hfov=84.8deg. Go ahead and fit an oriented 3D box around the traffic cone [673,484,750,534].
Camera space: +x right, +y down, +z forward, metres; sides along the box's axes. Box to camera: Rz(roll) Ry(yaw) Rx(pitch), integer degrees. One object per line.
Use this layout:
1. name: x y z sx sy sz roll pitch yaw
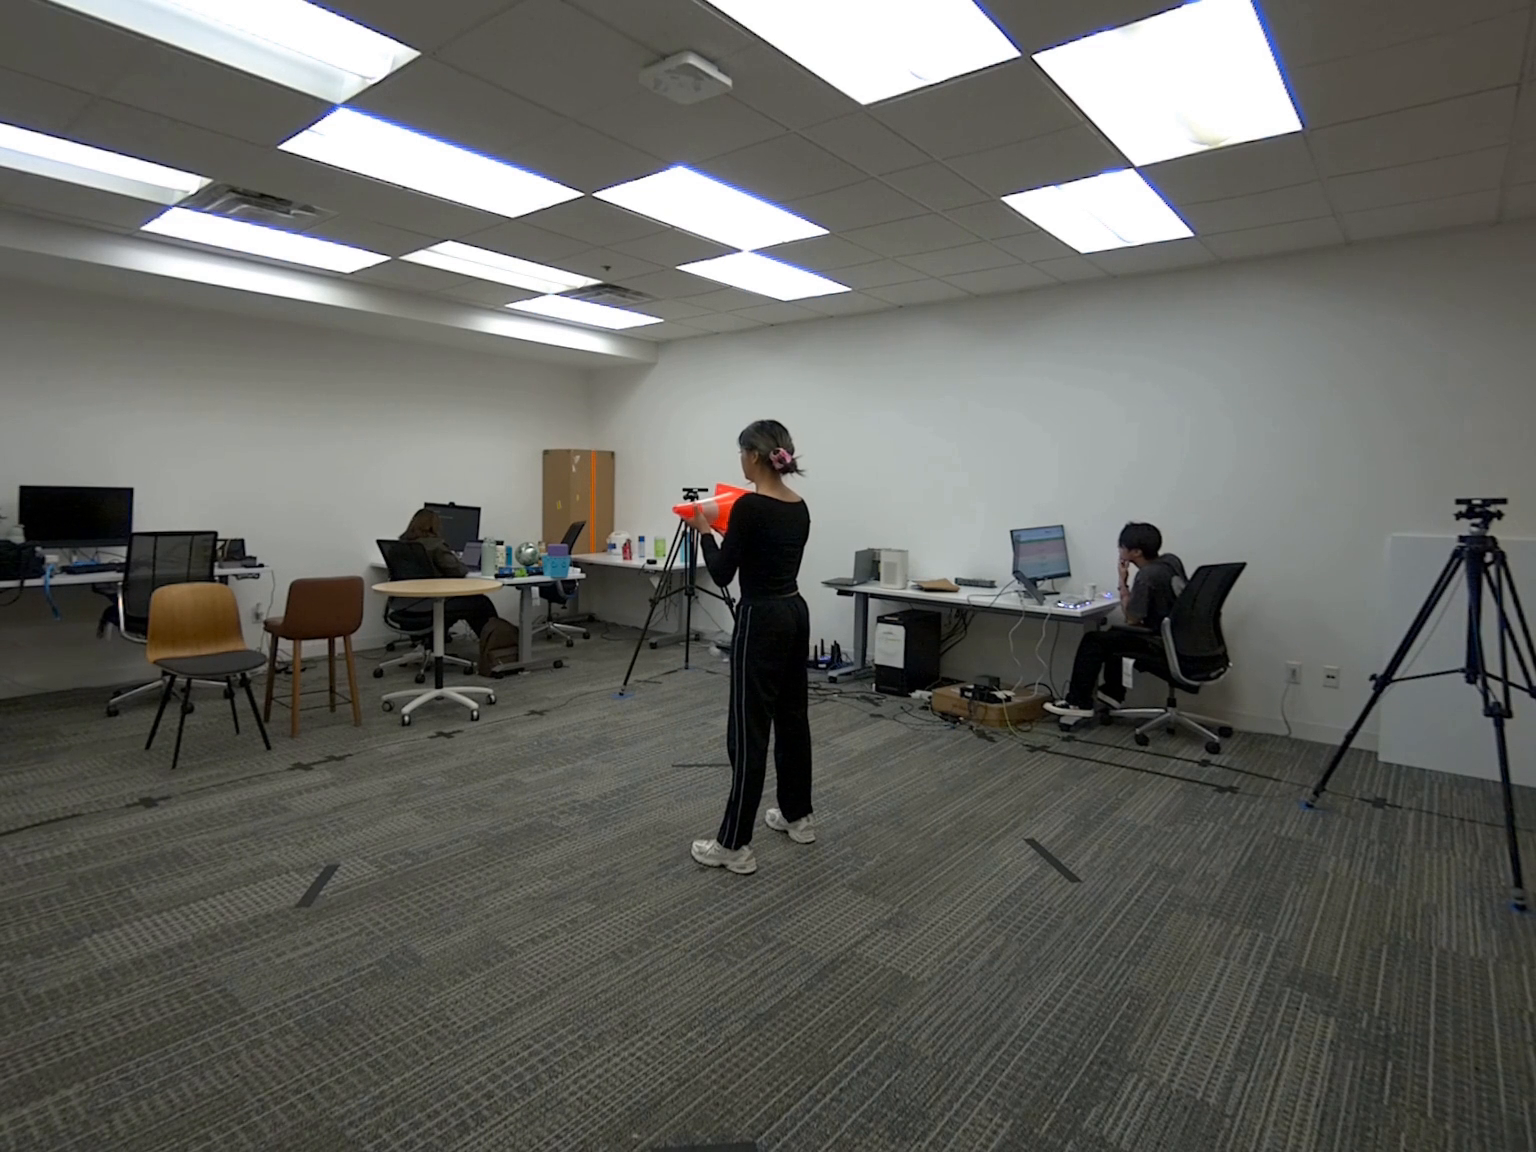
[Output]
1. traffic cone: -0.256 -0.266 3.399 0.210 0.203 0.373 17 12 31
